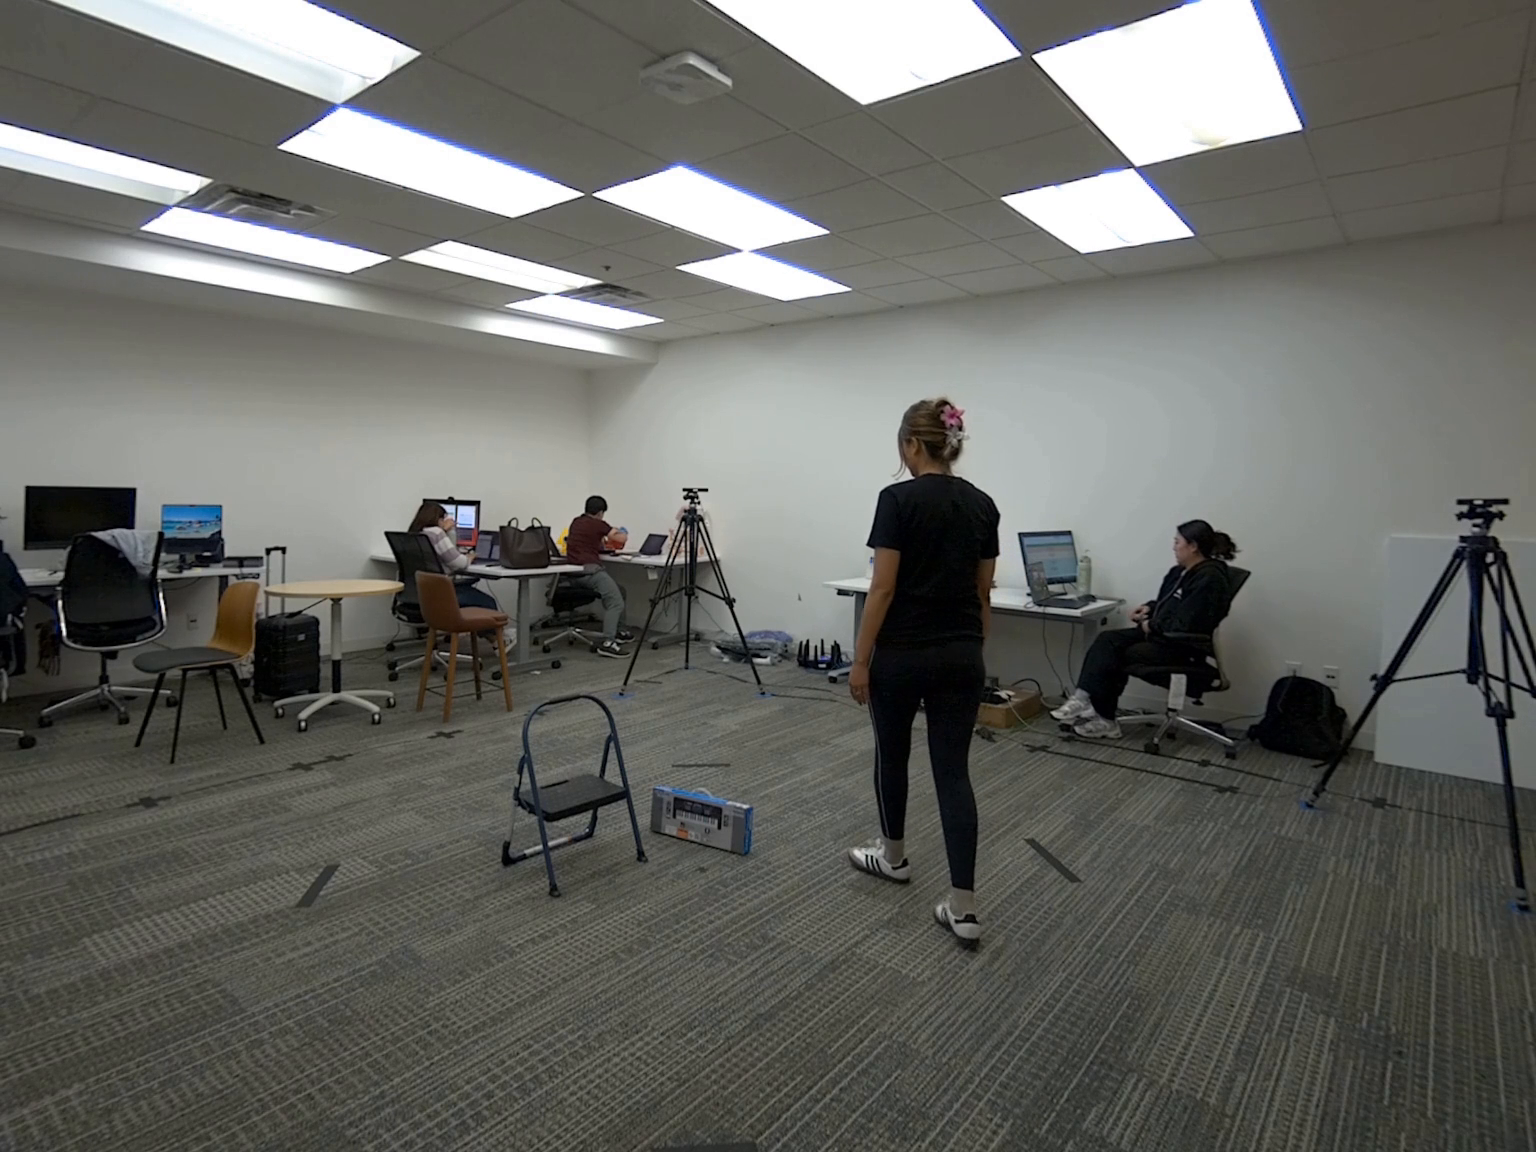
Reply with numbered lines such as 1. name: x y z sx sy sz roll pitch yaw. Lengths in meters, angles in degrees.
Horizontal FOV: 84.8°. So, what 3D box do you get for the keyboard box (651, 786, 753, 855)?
1. keyboard box: -0.279 0.958 3.361 0.449 0.176 0.057 4 -1 30
